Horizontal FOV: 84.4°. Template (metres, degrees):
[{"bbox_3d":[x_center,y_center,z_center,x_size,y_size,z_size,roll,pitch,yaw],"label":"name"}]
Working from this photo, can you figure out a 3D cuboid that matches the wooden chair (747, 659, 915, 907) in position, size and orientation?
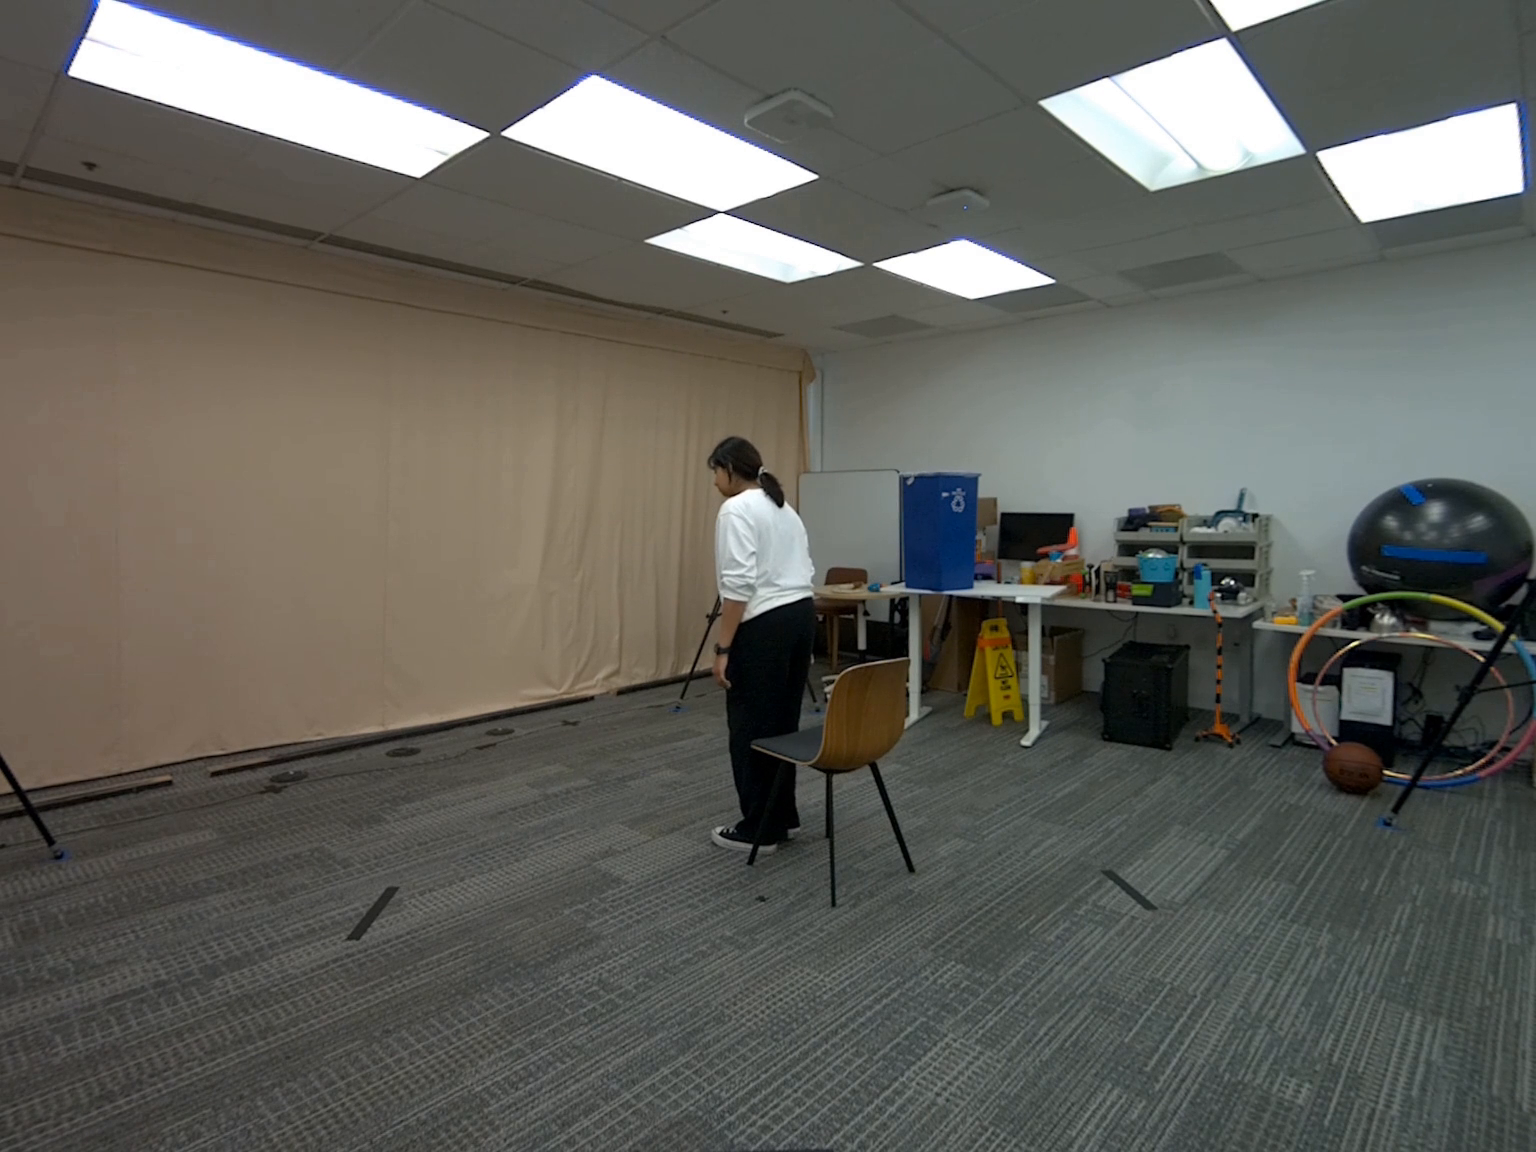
[{"bbox_3d":[0.243,0.697,3.198,0.463,0.874,0.541,-3,9,-42],"label":"wooden chair"}]
